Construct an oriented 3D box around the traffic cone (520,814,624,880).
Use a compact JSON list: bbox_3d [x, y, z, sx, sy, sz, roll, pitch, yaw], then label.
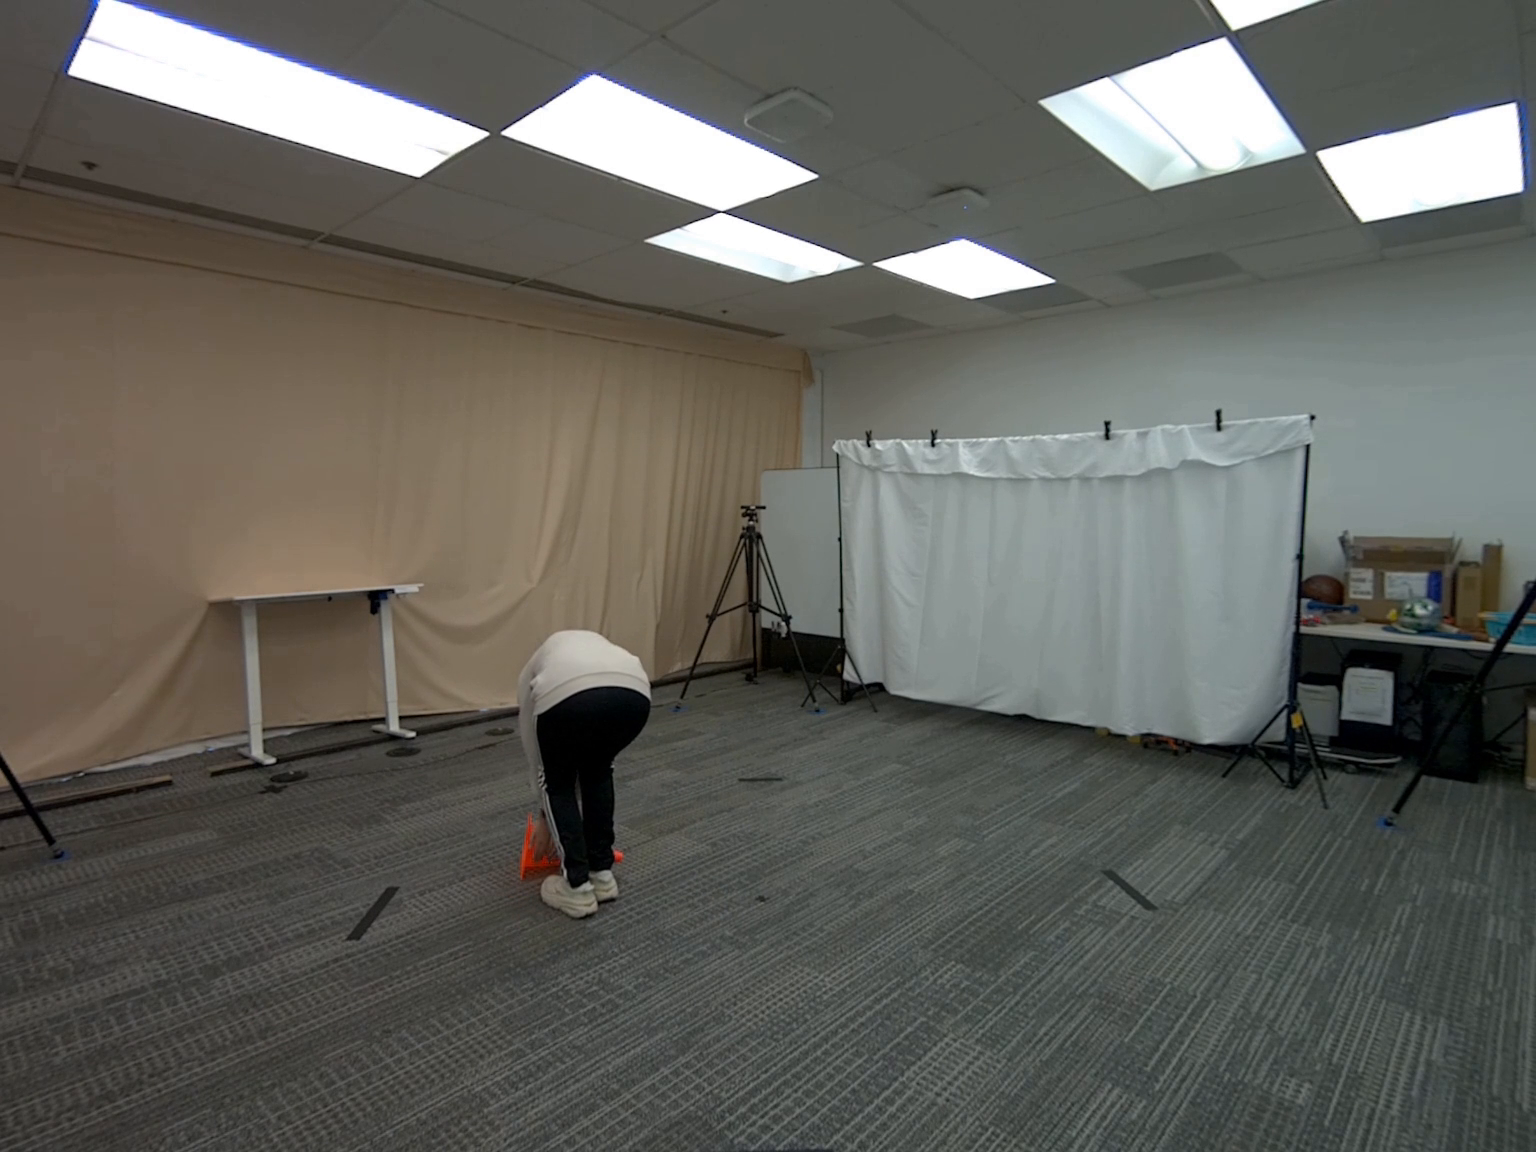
[{"bbox_3d":[-0.756,1.075,3.278,0.377,0.203,0.208,12,-1,-15],"label":"traffic cone"}]
